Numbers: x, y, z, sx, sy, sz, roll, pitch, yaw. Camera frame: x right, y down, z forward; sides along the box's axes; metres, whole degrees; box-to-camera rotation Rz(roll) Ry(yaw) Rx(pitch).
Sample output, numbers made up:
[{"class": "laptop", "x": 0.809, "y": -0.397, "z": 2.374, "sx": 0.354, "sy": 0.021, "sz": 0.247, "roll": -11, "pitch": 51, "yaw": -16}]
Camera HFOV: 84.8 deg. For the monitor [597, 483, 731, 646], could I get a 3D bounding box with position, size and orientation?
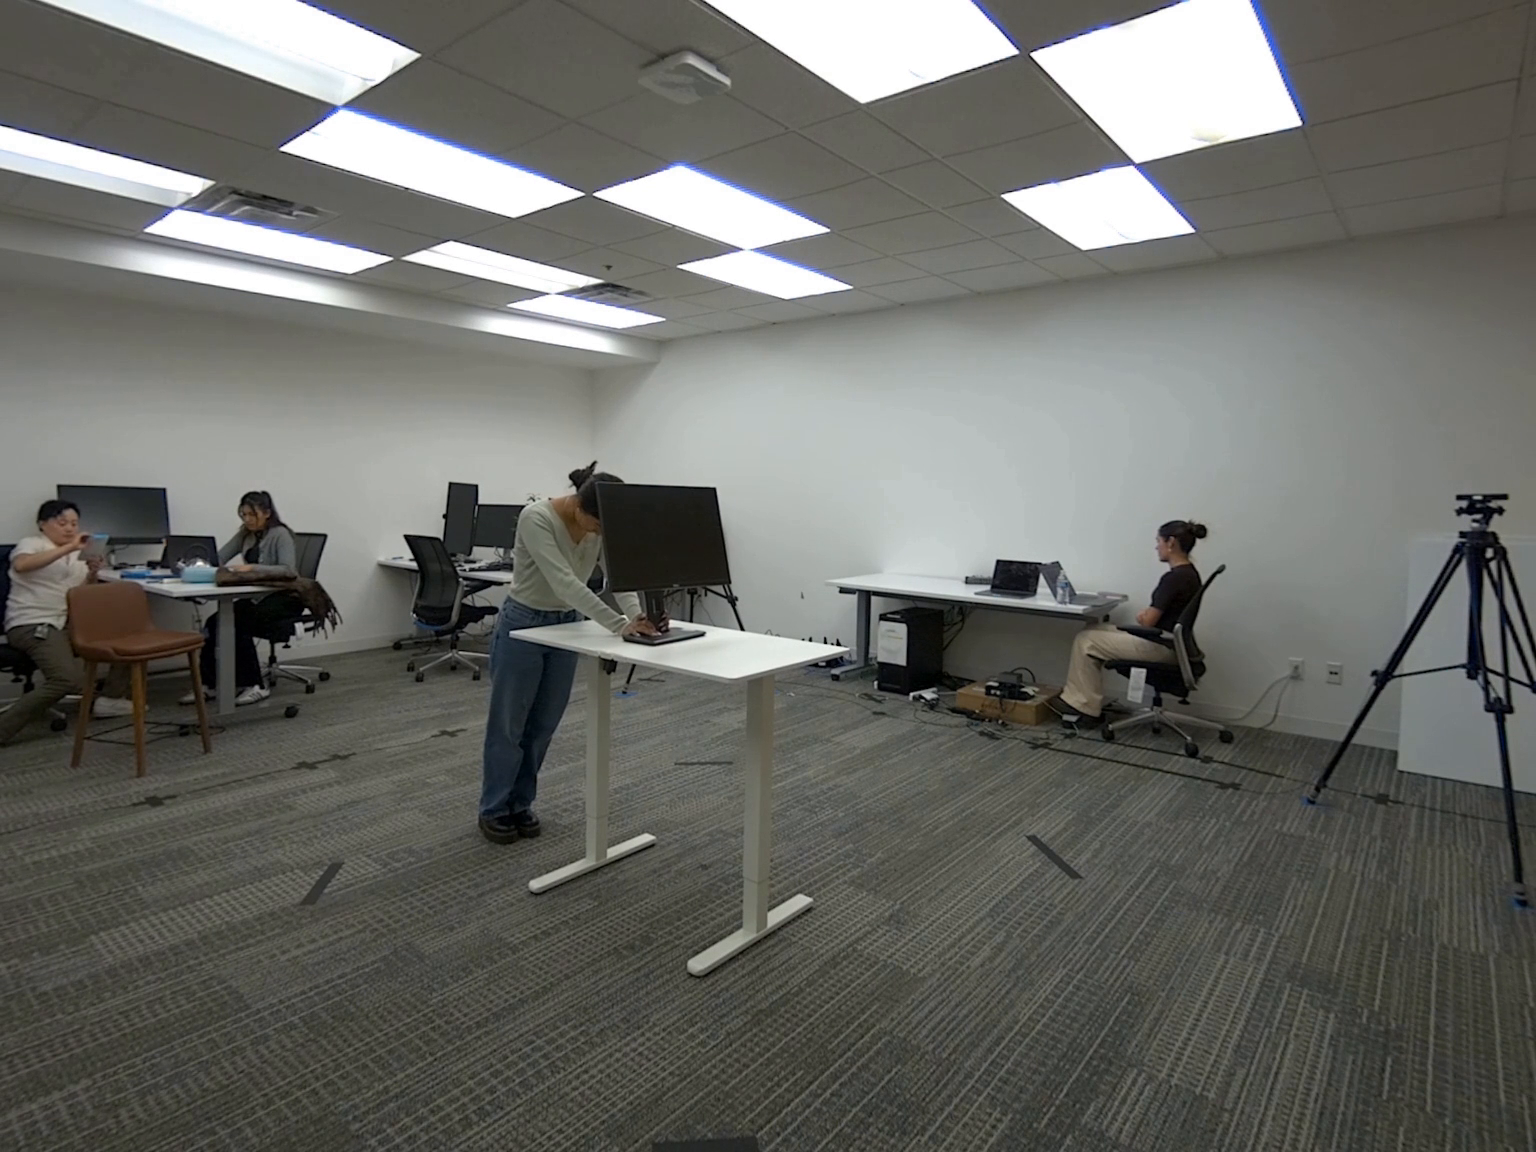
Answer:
[{"class": "monitor", "x": -0.368, "y": -0.046, "z": 2.857, "sx": 0.193, "sy": 0.522, "sz": 0.523, "roll": 1, "pitch": 2, "yaw": 40}]
